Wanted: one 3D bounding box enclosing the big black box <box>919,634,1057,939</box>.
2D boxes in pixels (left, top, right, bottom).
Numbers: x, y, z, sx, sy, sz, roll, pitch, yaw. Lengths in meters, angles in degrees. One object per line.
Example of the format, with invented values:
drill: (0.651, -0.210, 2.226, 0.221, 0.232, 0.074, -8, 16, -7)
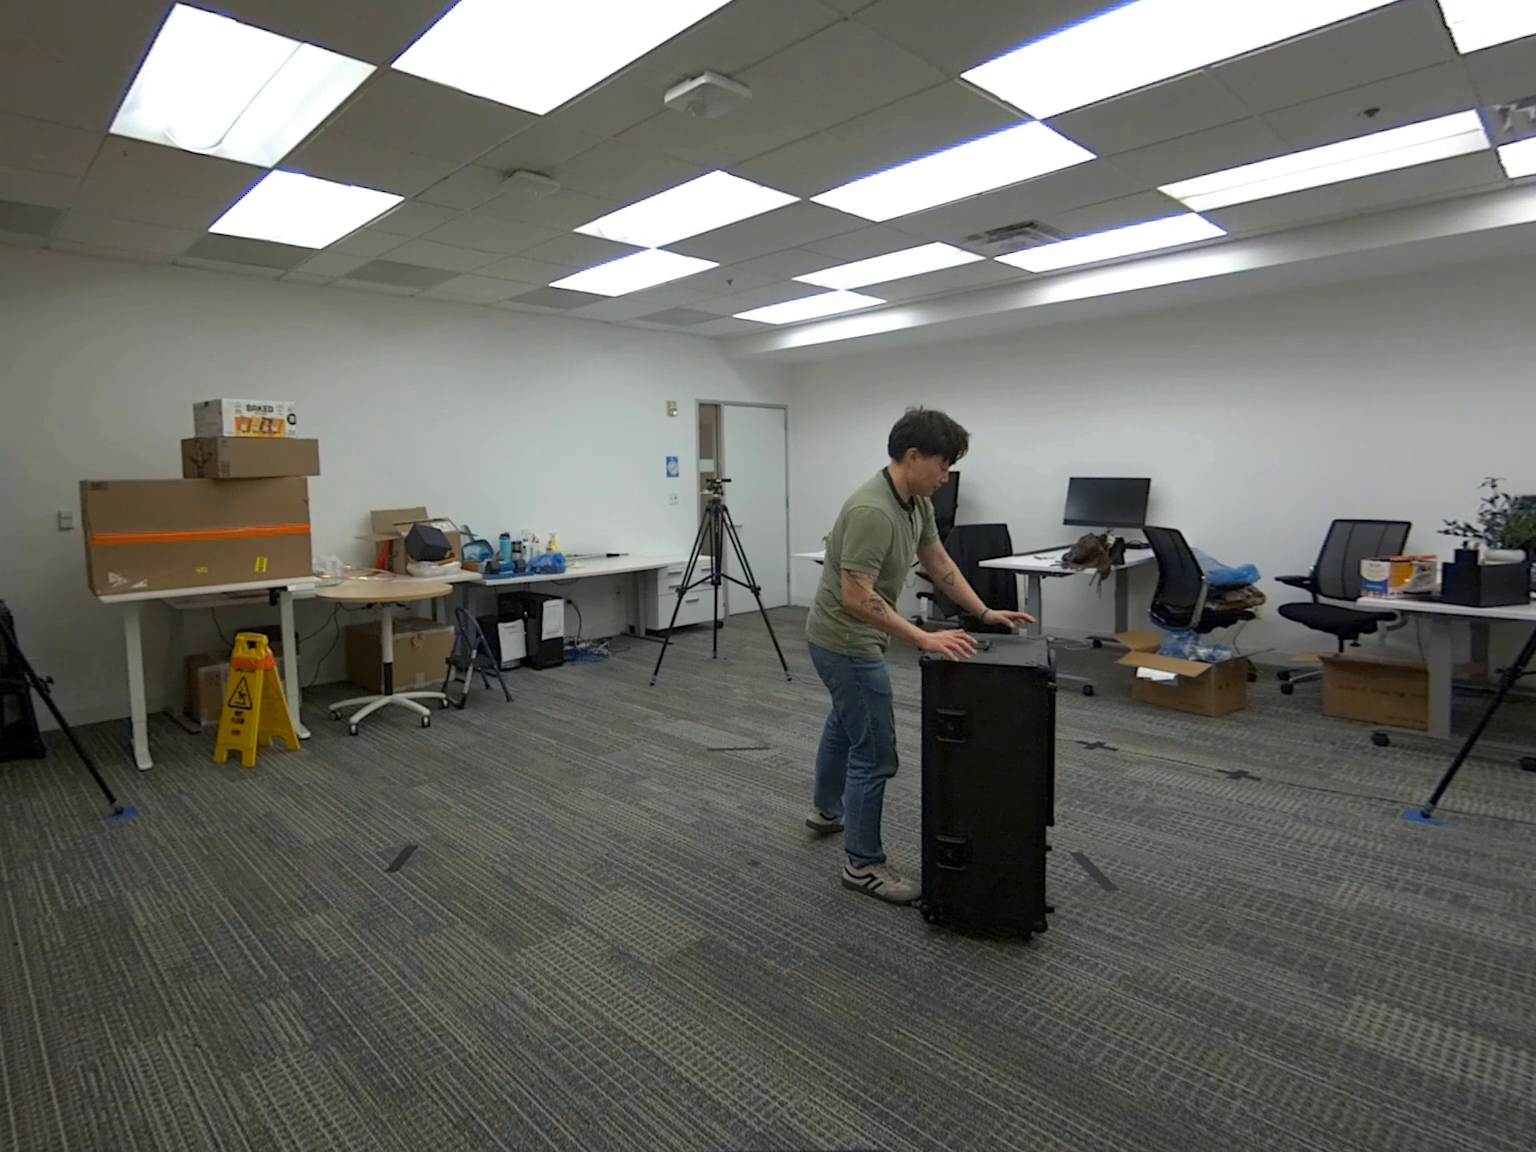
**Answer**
big black box: (0.715, 0.654, 2.723, 0.404, 0.858, 0.514, 1, 5, 19)
